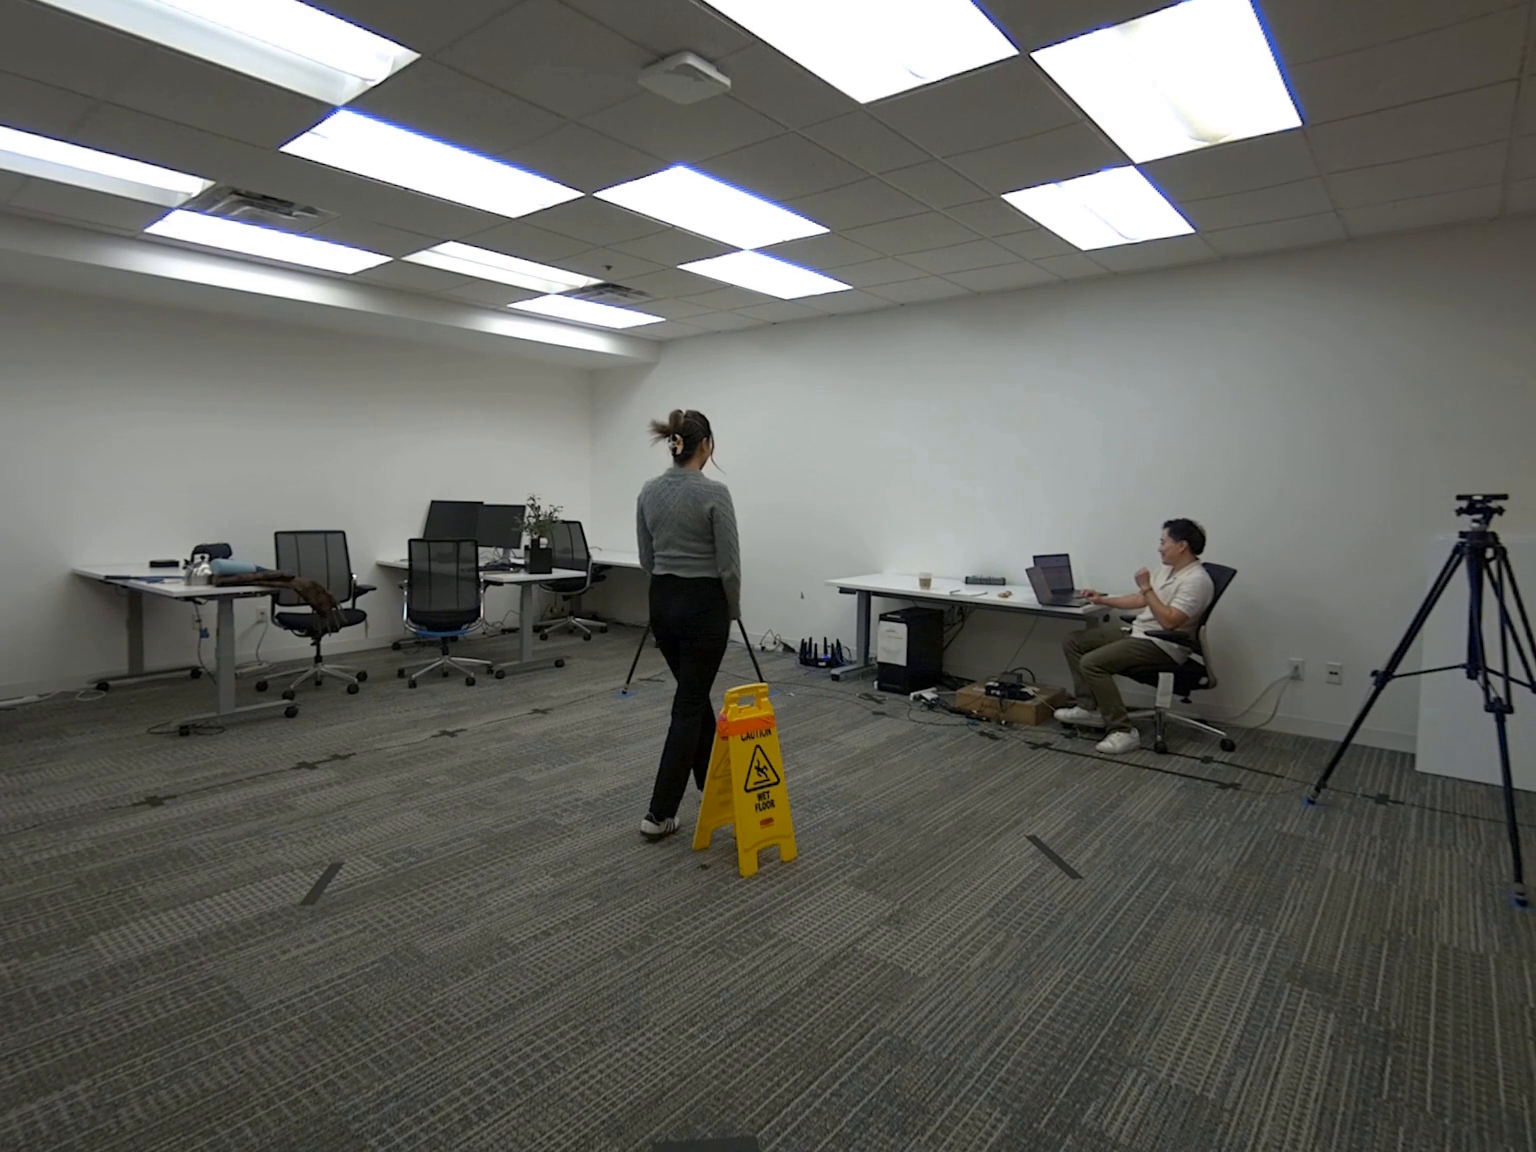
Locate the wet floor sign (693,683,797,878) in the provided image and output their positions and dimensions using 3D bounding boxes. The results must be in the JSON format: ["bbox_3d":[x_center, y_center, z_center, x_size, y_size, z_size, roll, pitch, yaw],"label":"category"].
[{"bbox_3d":[-0.091,0.733,3.220,0.274,0.644,0.299,-2,4,-42],"label":"wet floor sign"}]
